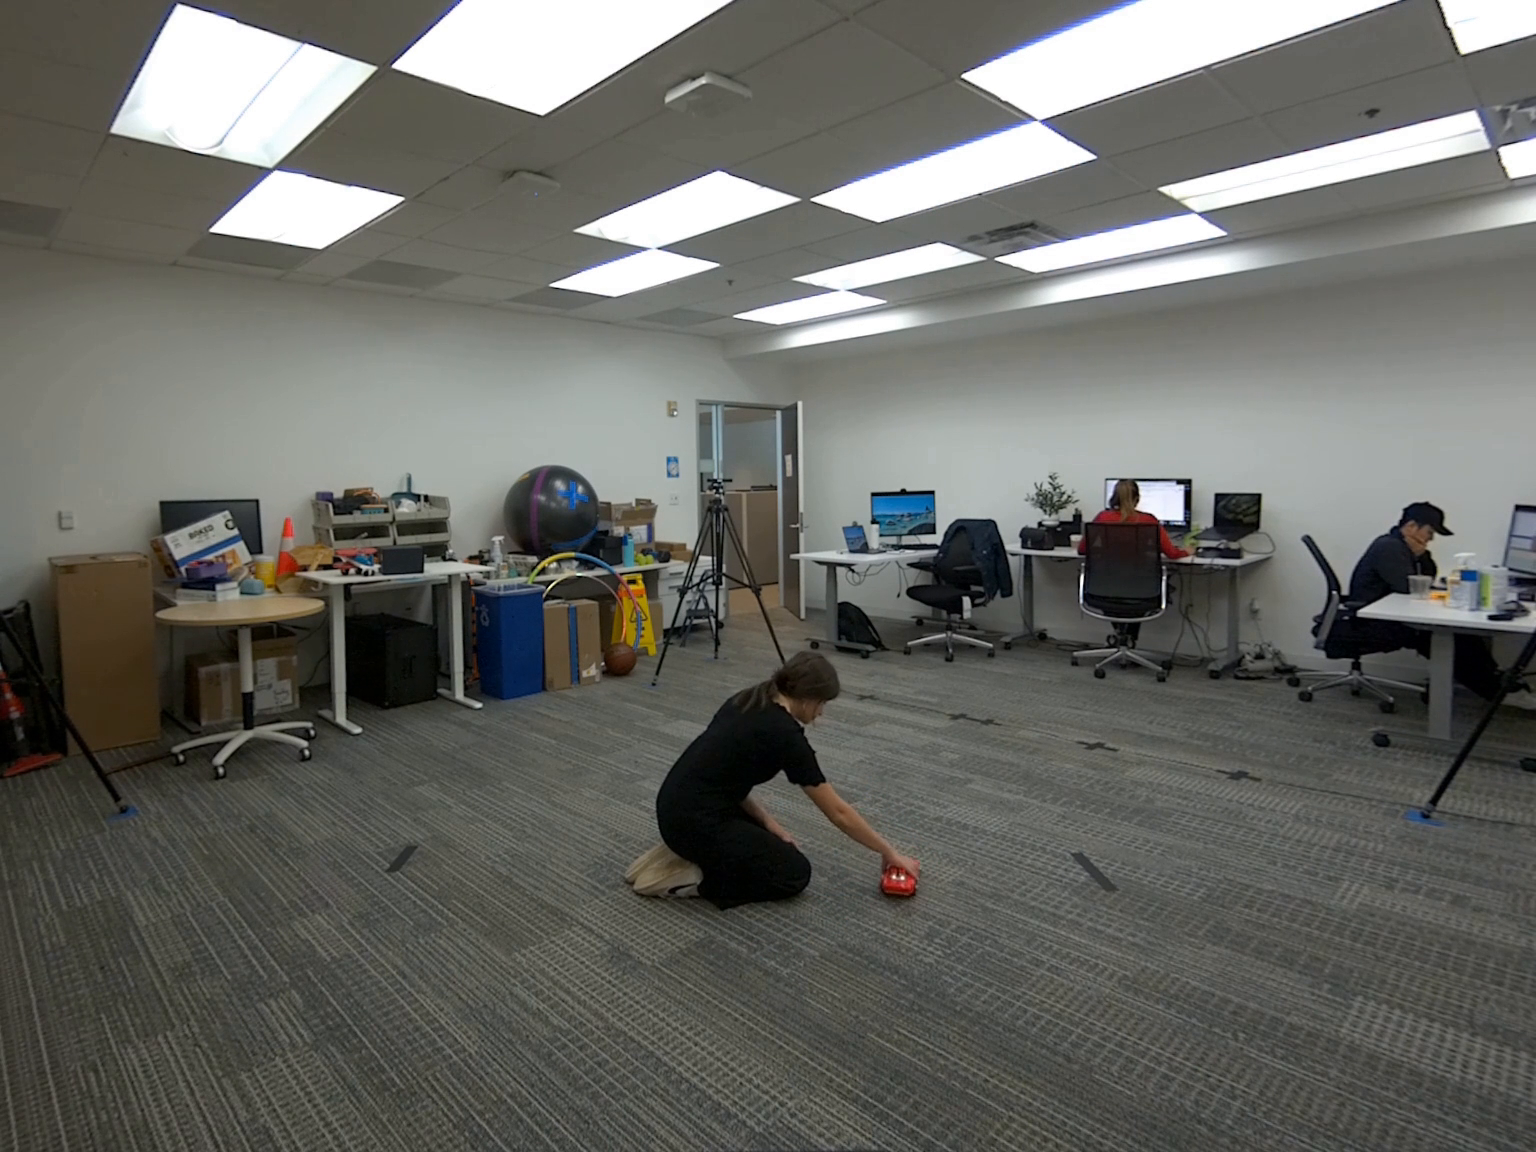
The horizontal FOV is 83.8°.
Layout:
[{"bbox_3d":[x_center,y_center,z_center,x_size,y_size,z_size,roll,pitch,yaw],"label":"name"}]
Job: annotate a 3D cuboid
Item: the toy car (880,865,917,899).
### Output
[{"bbox_3d":[0.444,1.022,2.910,0.132,0.083,0.249,2,-4,16],"label":"toy car"}]
